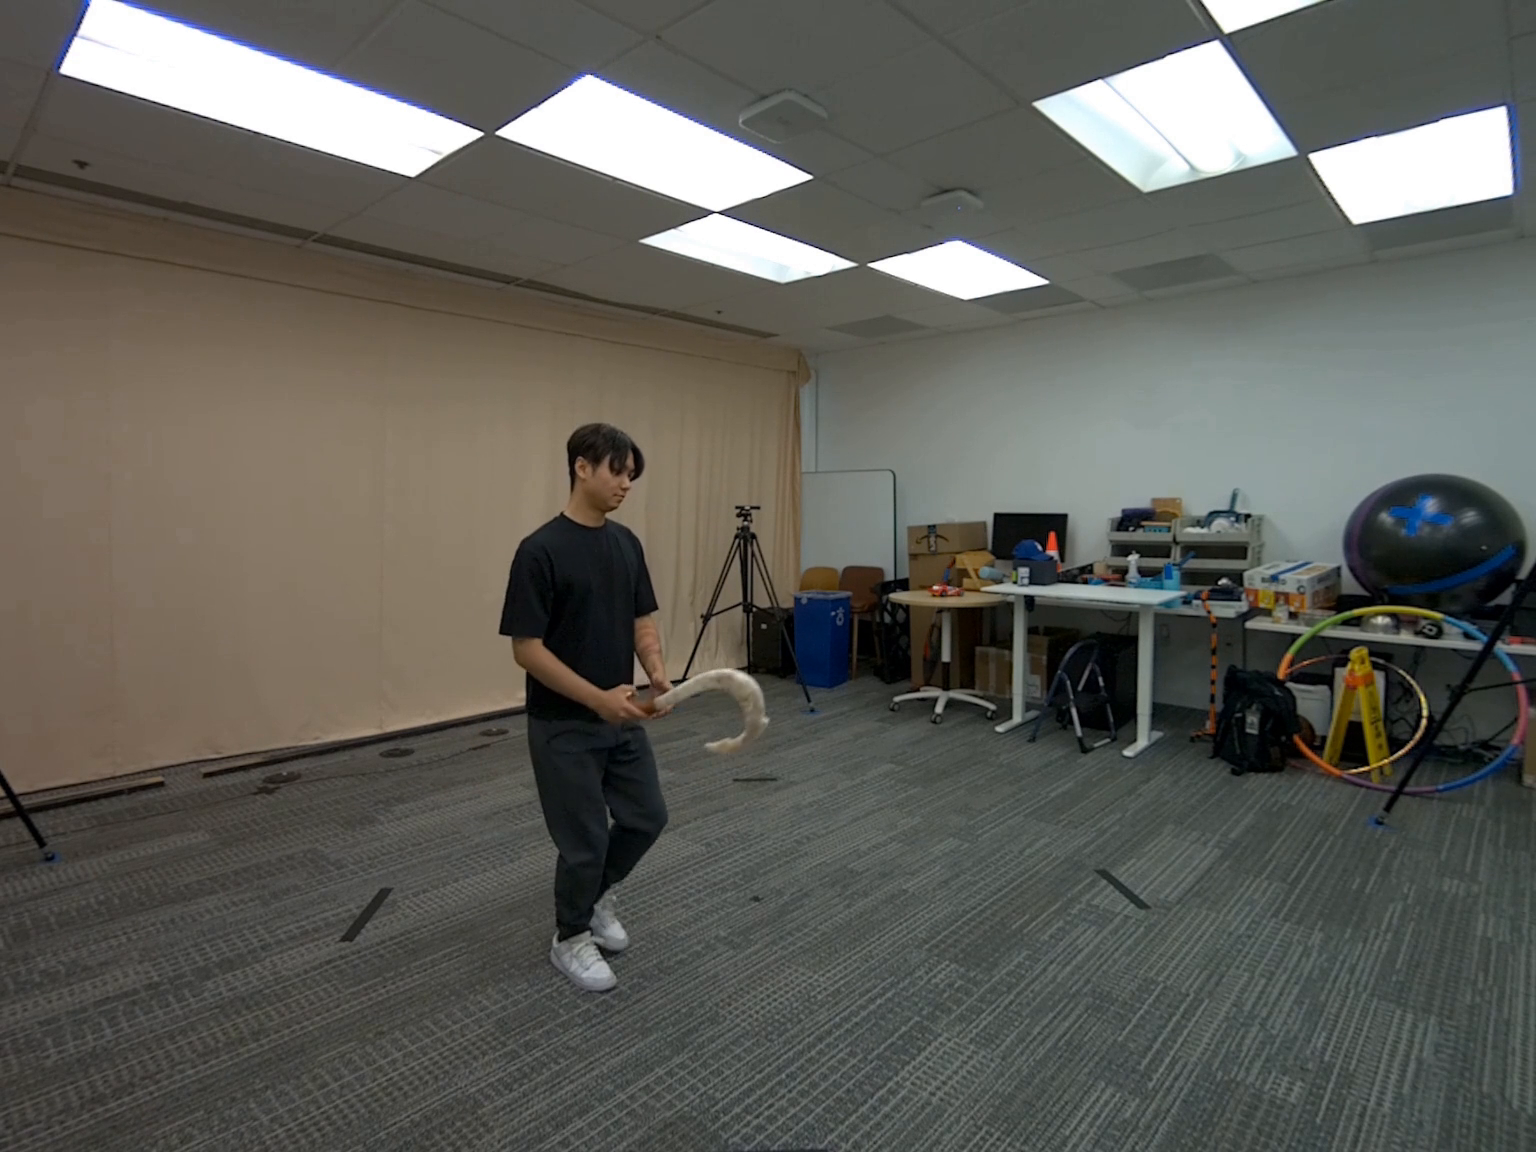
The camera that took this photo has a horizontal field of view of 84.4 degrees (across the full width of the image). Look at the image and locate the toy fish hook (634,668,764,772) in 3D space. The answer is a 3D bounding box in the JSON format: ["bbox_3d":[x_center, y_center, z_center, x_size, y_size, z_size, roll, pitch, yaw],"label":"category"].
[{"bbox_3d":[-0.268,0.396,2.248,0.517,0.227,0.047,-13,-14,24],"label":"toy fish hook"}]
